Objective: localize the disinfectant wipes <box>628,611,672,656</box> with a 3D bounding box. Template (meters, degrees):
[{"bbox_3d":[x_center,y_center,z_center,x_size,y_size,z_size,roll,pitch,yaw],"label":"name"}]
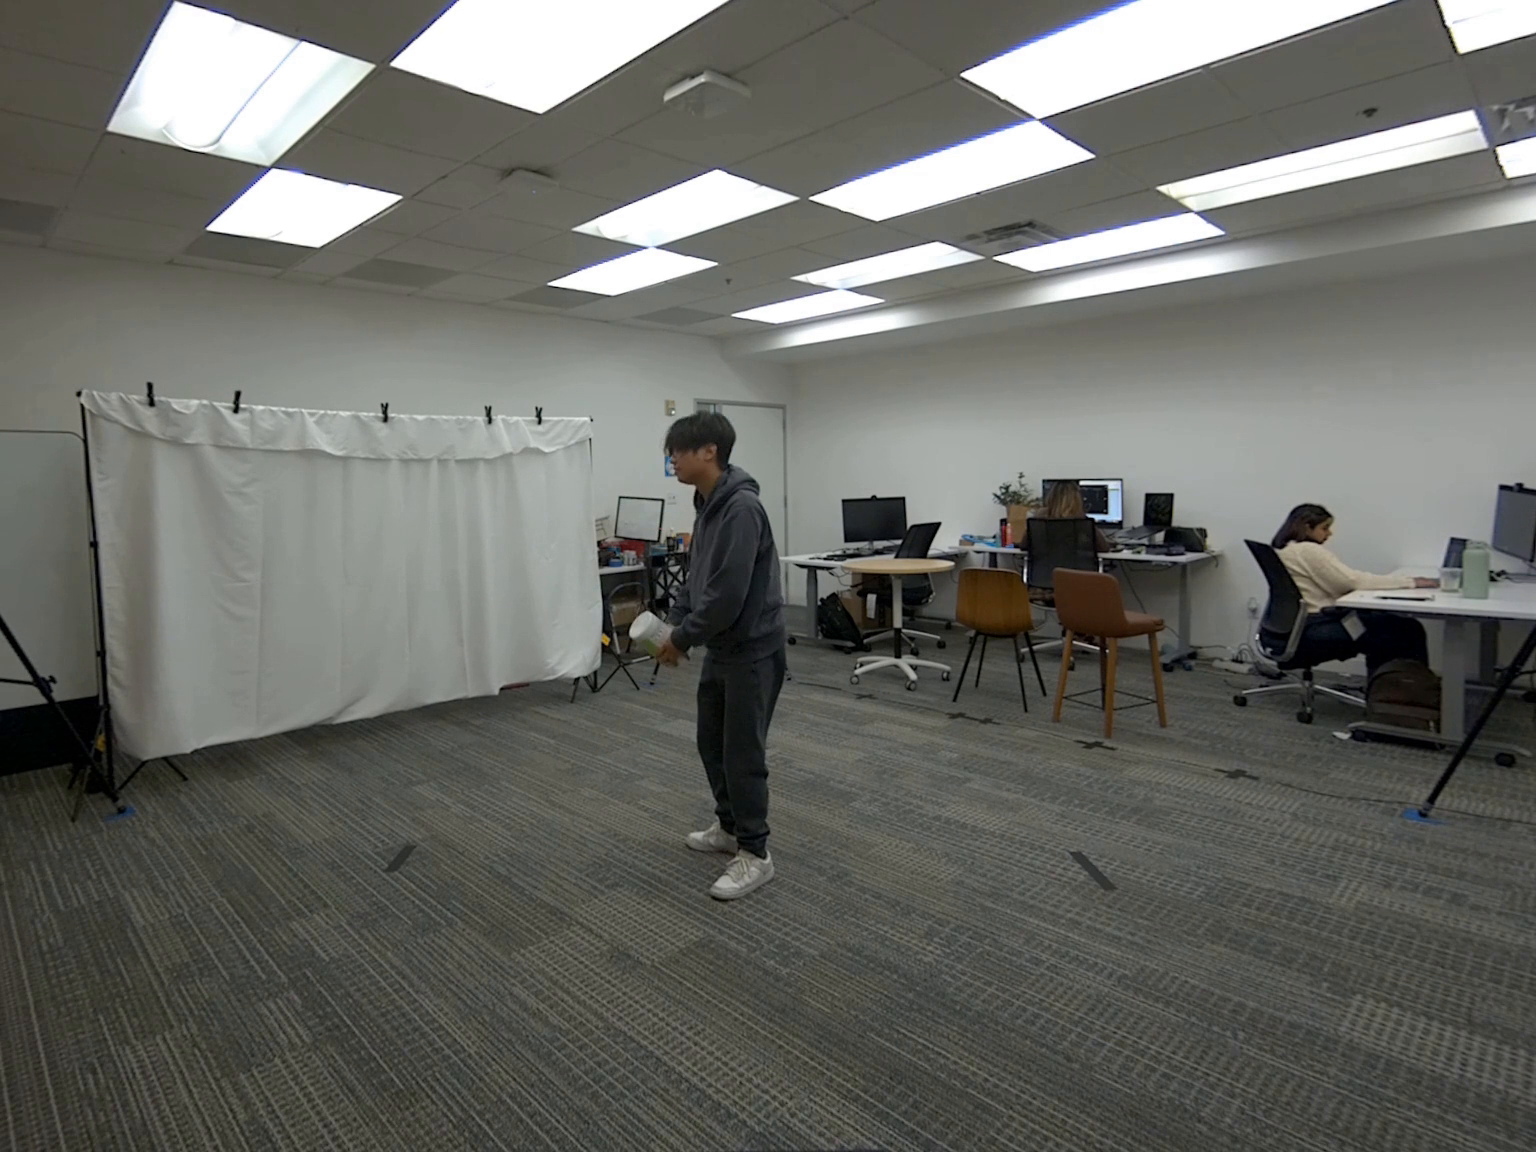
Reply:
[{"bbox_3d":[-0.362,0.222,2.942,0.211,0.118,0.121,41,-16,-24],"label":"disinfectant wipes"}]
